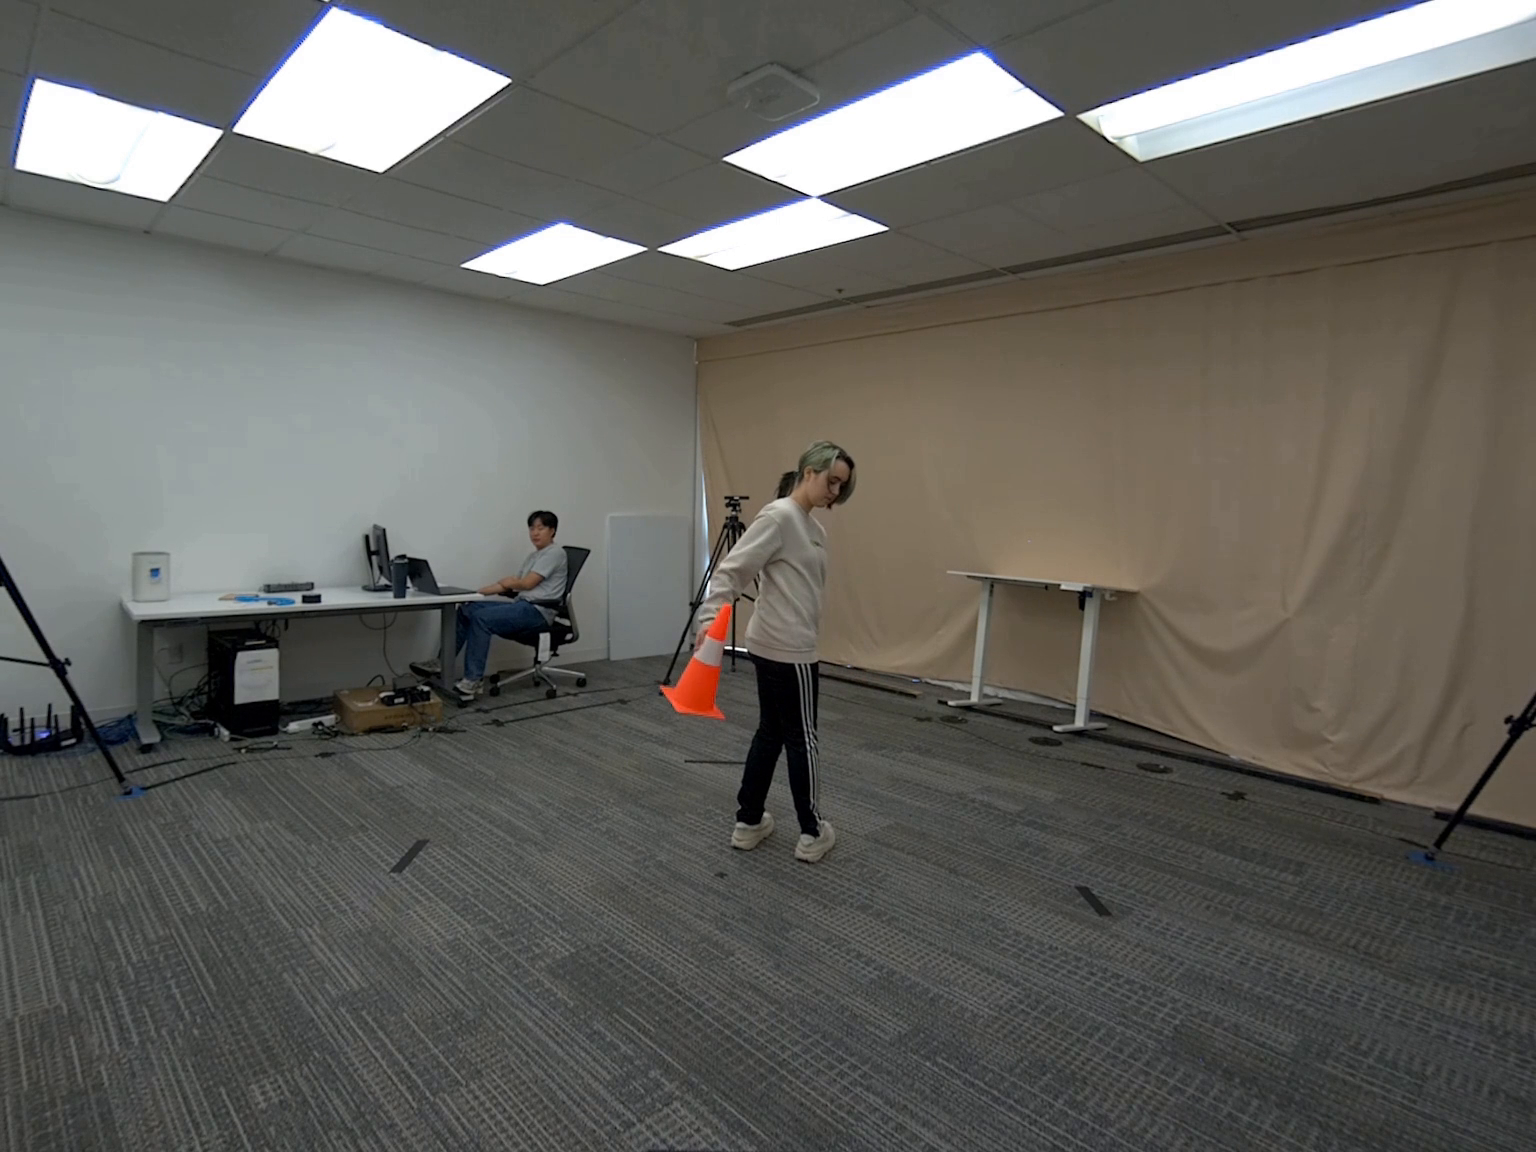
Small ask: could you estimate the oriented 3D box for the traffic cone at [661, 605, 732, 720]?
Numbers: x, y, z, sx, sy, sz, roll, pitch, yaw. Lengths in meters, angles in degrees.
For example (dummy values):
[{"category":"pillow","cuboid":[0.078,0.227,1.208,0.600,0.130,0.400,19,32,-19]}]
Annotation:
[{"category":"traffic cone","cuboid":[-0.209,0.279,3.004,0.198,0.383,0.211,16,8,-36]}]
